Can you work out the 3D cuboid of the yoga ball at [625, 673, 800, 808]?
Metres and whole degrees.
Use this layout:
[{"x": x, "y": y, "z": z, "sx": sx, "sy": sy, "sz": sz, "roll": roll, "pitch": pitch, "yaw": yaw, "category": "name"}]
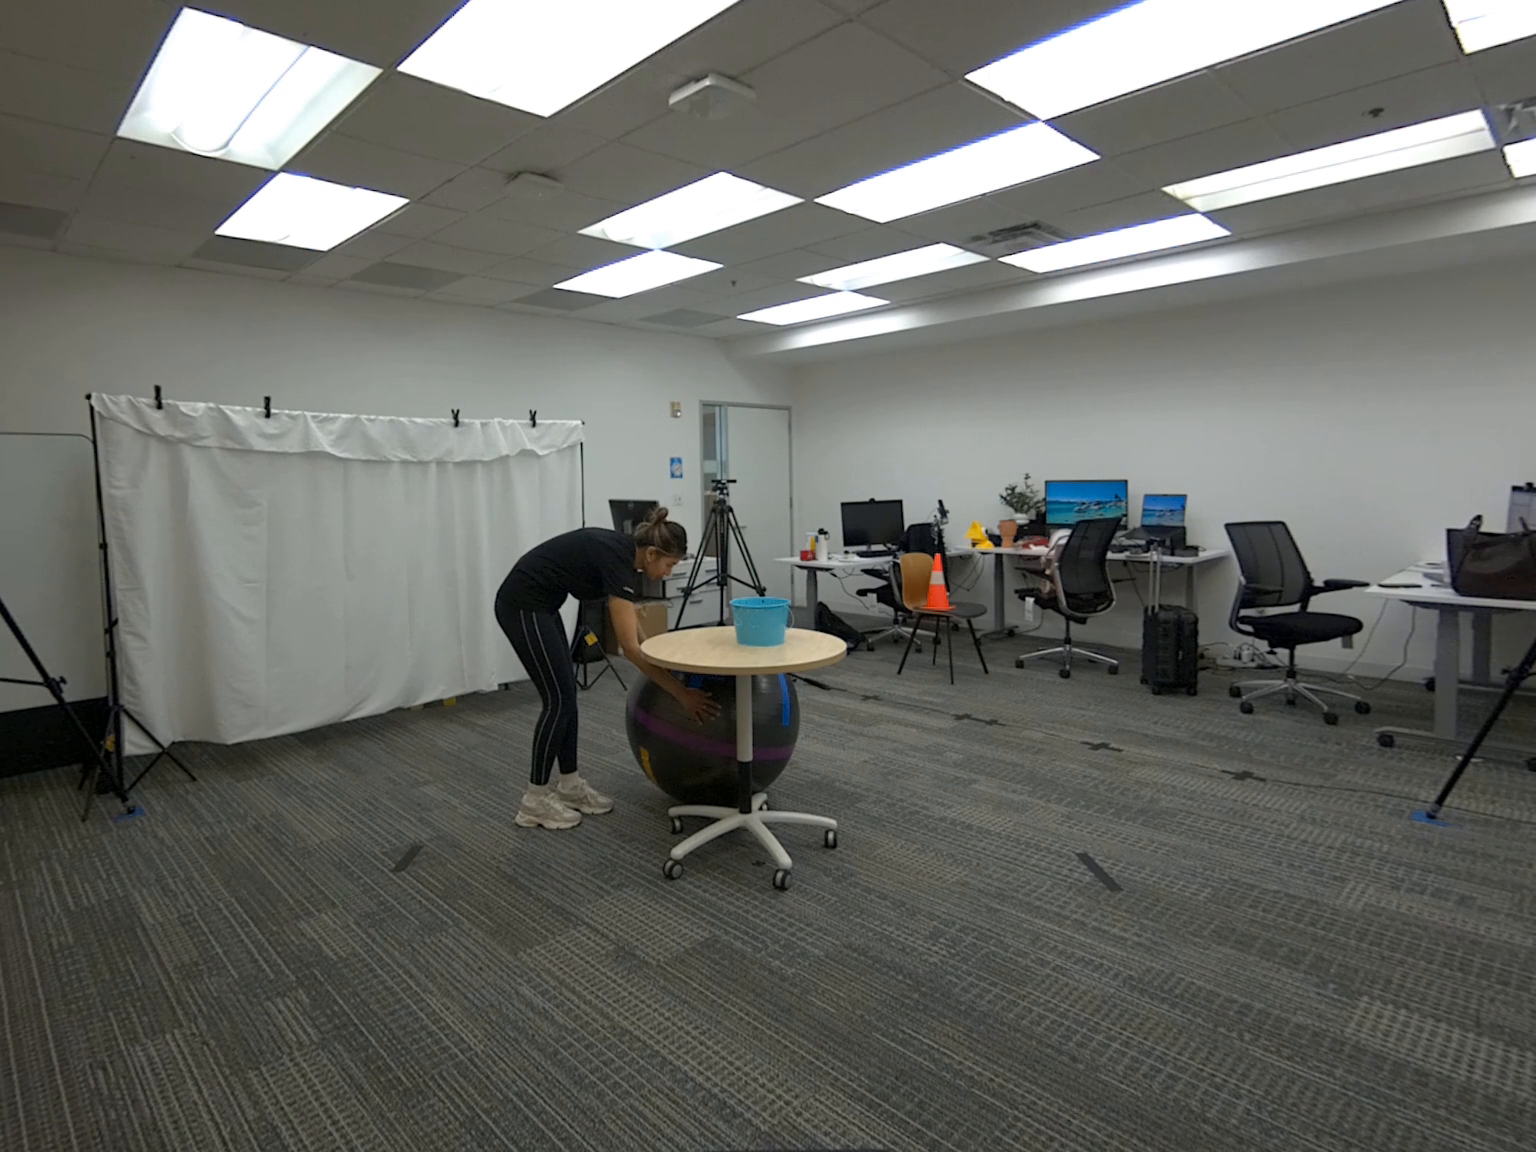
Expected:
[{"x": -0.241, "y": 0.617, "z": 3.731, "sx": 0.757, "sy": 0.755, "sz": 0.762, "roll": -1, "pitch": 5, "yaw": -2, "category": "yoga ball"}]
